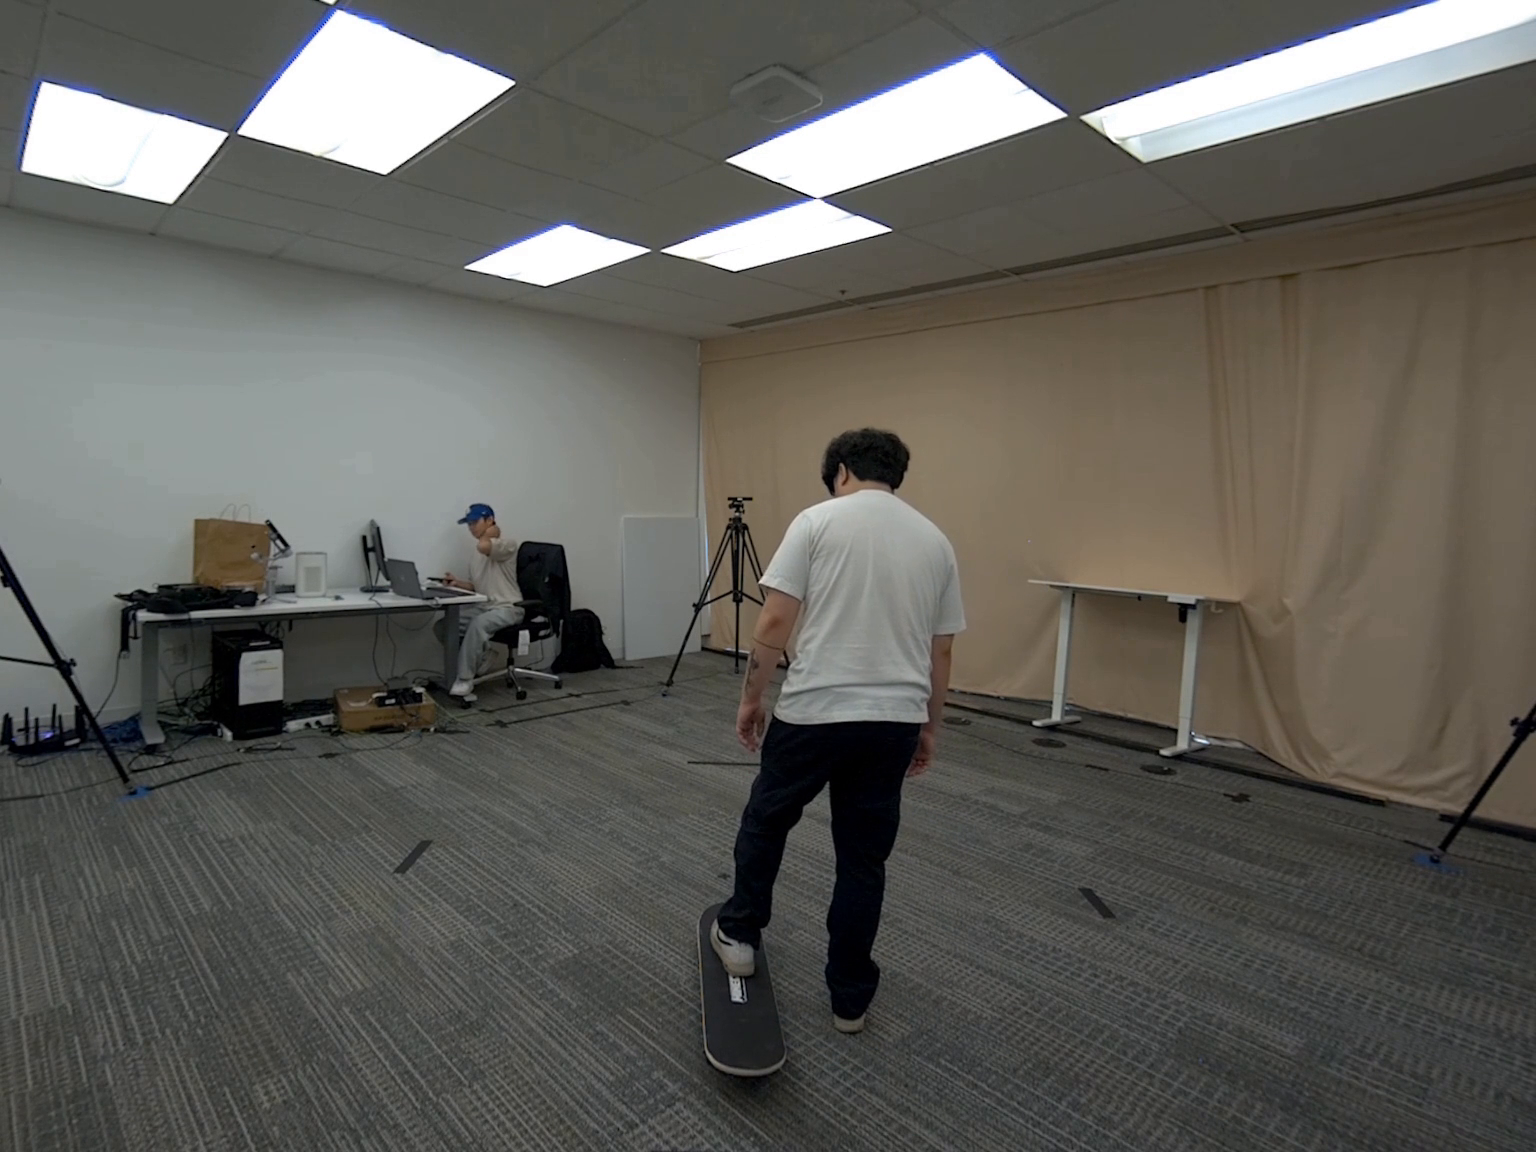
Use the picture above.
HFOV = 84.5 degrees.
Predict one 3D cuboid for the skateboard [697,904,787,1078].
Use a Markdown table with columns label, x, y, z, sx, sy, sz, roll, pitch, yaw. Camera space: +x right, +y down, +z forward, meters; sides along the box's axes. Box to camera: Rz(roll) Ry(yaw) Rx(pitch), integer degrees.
| label | x | y | z | sx | sy | sz | roll | pitch | yaw |
| --- | --- | --- | --- | --- | --- | --- | --- | --- | --- |
| skateboard | -0.091 | 1.125 | 2.288 | 0.192 | 0.110 | 0.791 | 2 | 5 | -7 |
